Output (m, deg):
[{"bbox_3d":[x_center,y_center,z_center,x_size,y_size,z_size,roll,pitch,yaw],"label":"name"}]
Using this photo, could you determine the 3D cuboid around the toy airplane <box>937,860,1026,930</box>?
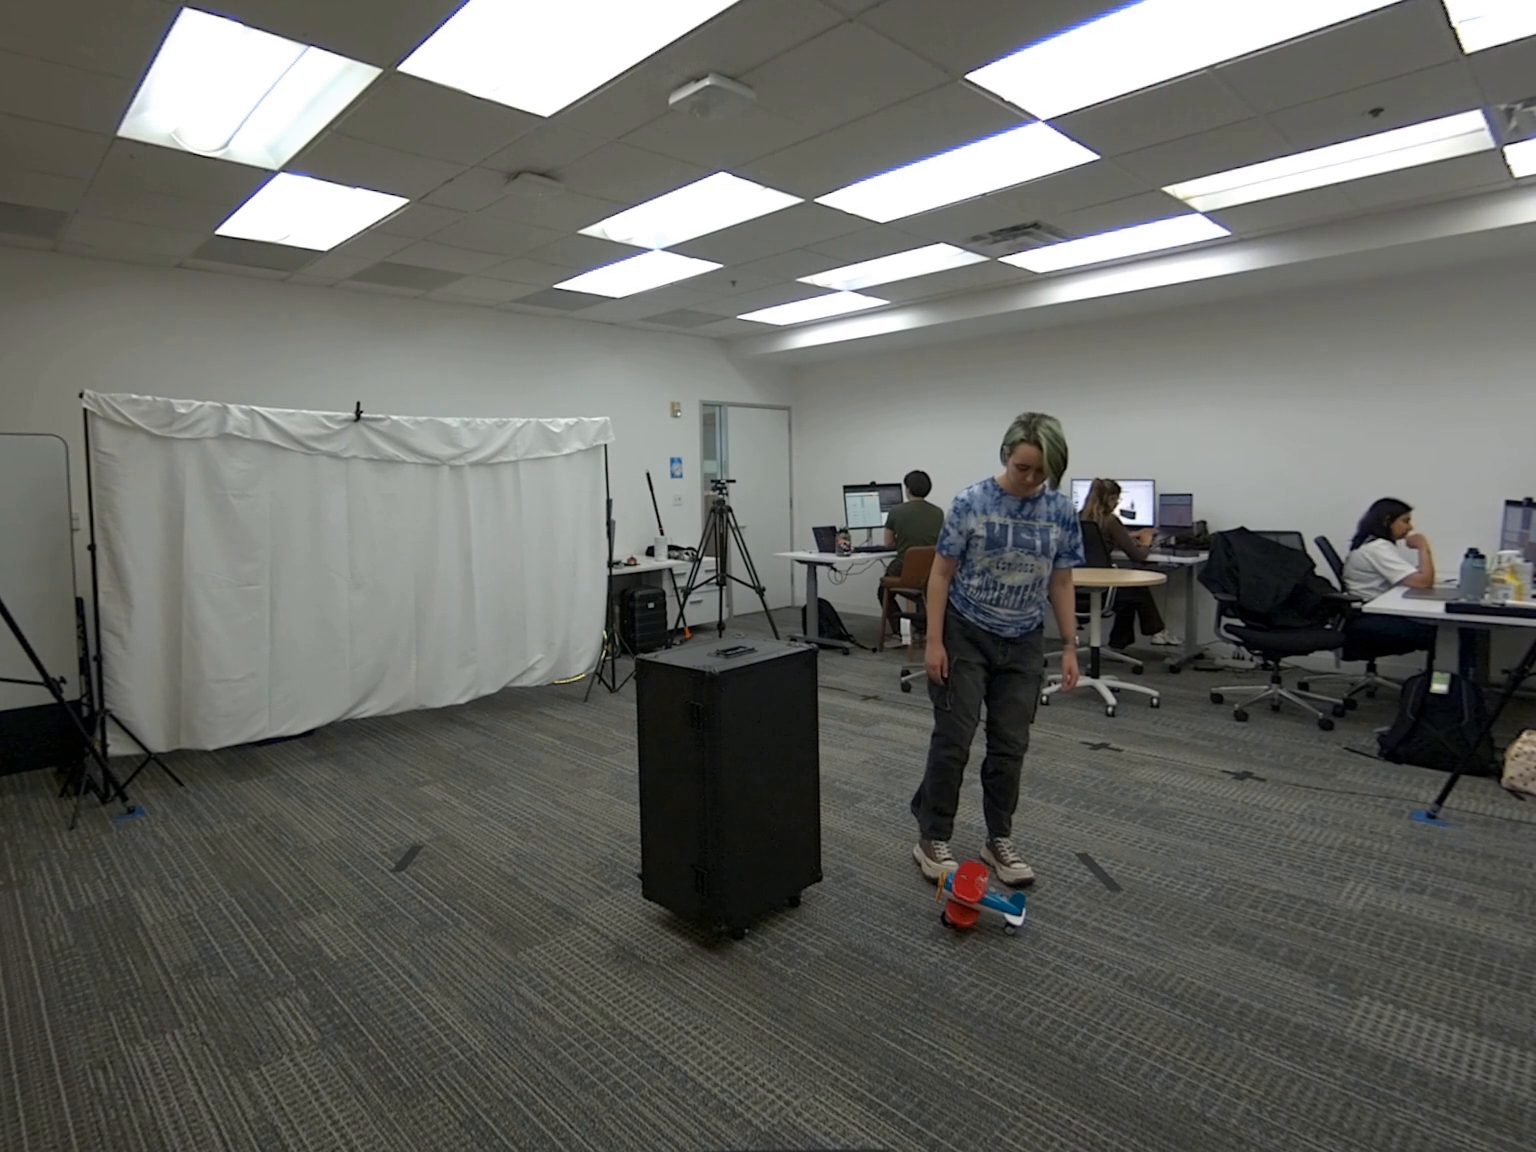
[{"bbox_3d":[0.661,1.005,2.660,0.258,0.156,0.253,-3,5,-4],"label":"toy airplane"}]
